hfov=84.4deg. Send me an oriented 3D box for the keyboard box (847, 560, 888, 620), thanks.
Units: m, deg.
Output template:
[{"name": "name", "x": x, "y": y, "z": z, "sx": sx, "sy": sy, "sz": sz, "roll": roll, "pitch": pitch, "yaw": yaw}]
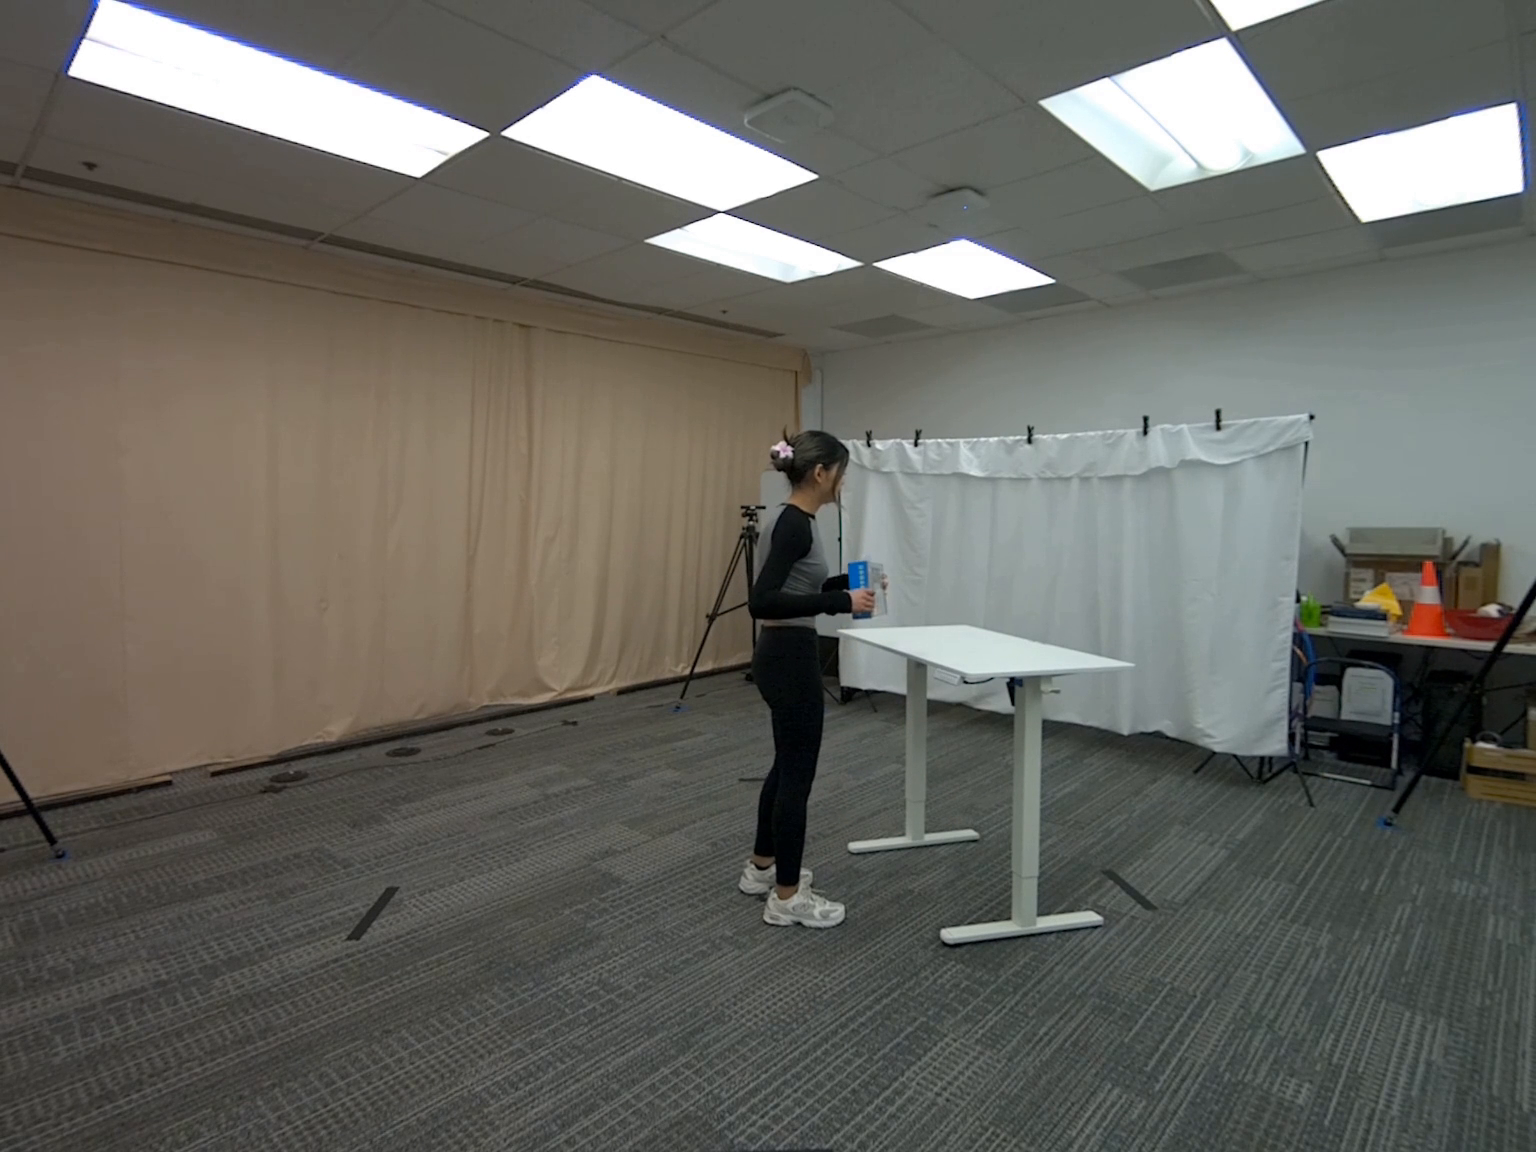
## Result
[{"name": "keyboard box", "x": 0.330, "y": 0.050, "z": 2.719, "sx": 0.060, "sy": 0.176, "sz": 0.428, "roll": -5, "pitch": -3, "yaw": 15}]
